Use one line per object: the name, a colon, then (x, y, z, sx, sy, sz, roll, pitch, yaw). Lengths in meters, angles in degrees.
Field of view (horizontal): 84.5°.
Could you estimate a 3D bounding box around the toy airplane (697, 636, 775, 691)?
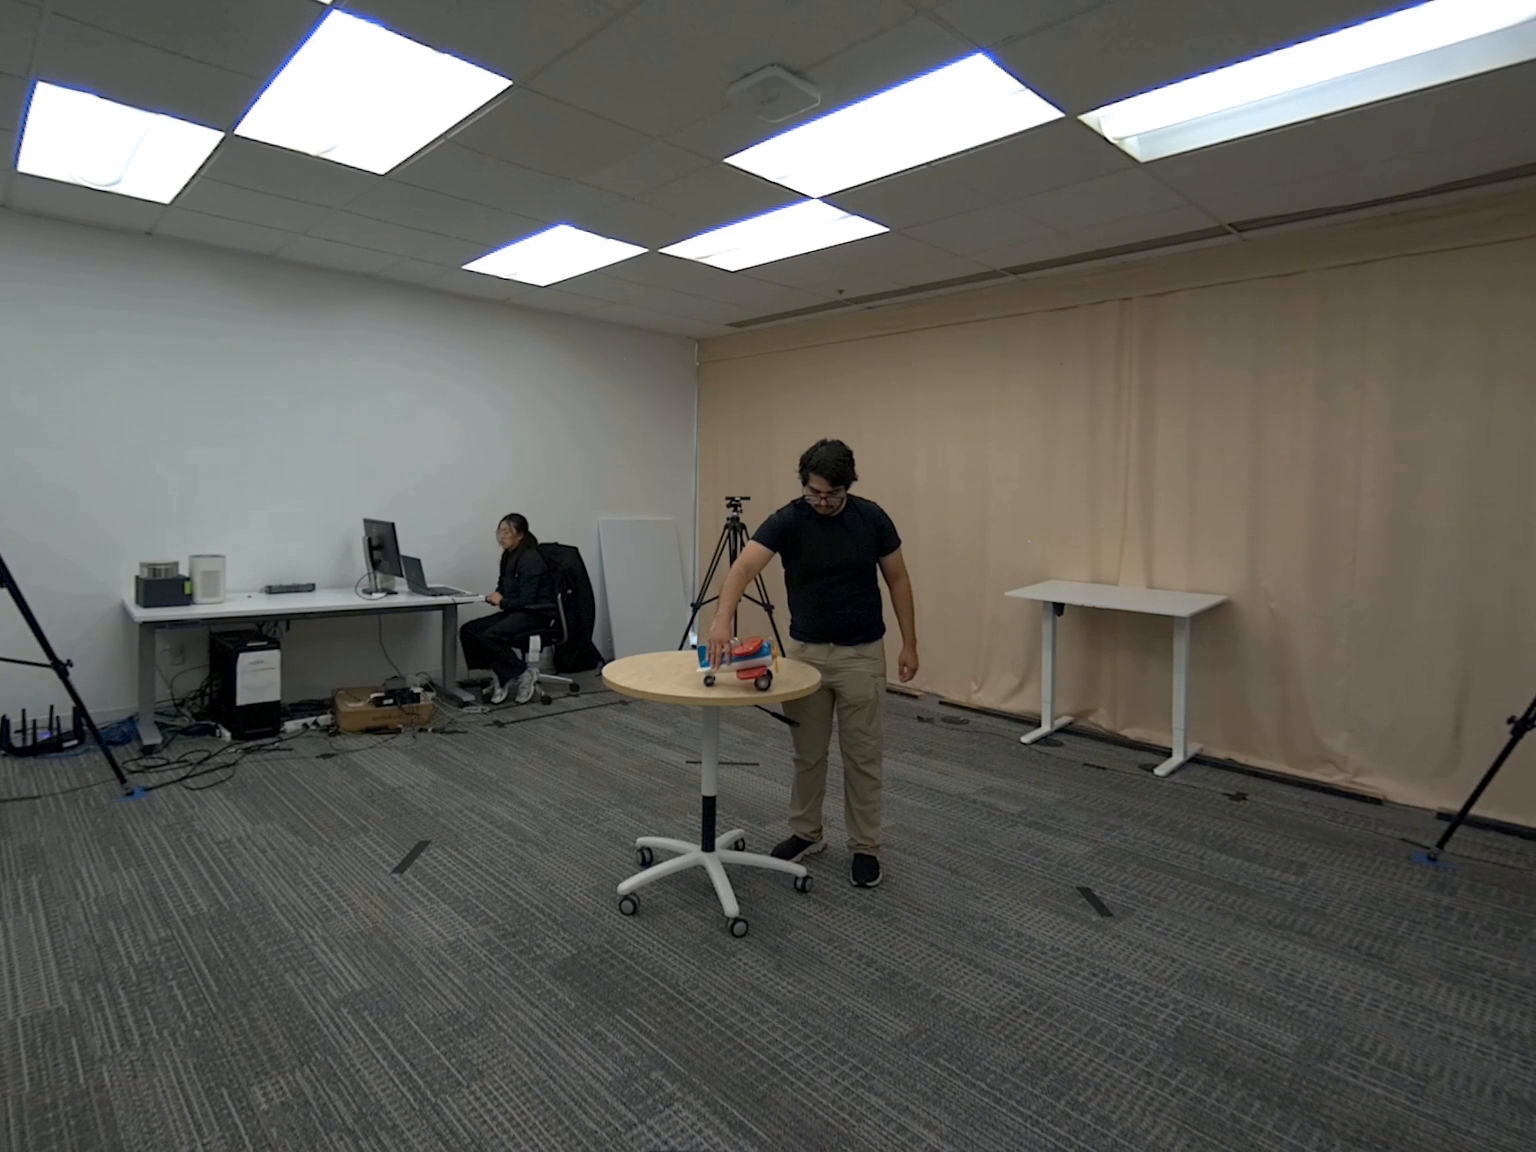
toy airplane: (-0.101, 0.288, 2.697, 0.255, 0.156, 0.256, 1, 5, -24)
